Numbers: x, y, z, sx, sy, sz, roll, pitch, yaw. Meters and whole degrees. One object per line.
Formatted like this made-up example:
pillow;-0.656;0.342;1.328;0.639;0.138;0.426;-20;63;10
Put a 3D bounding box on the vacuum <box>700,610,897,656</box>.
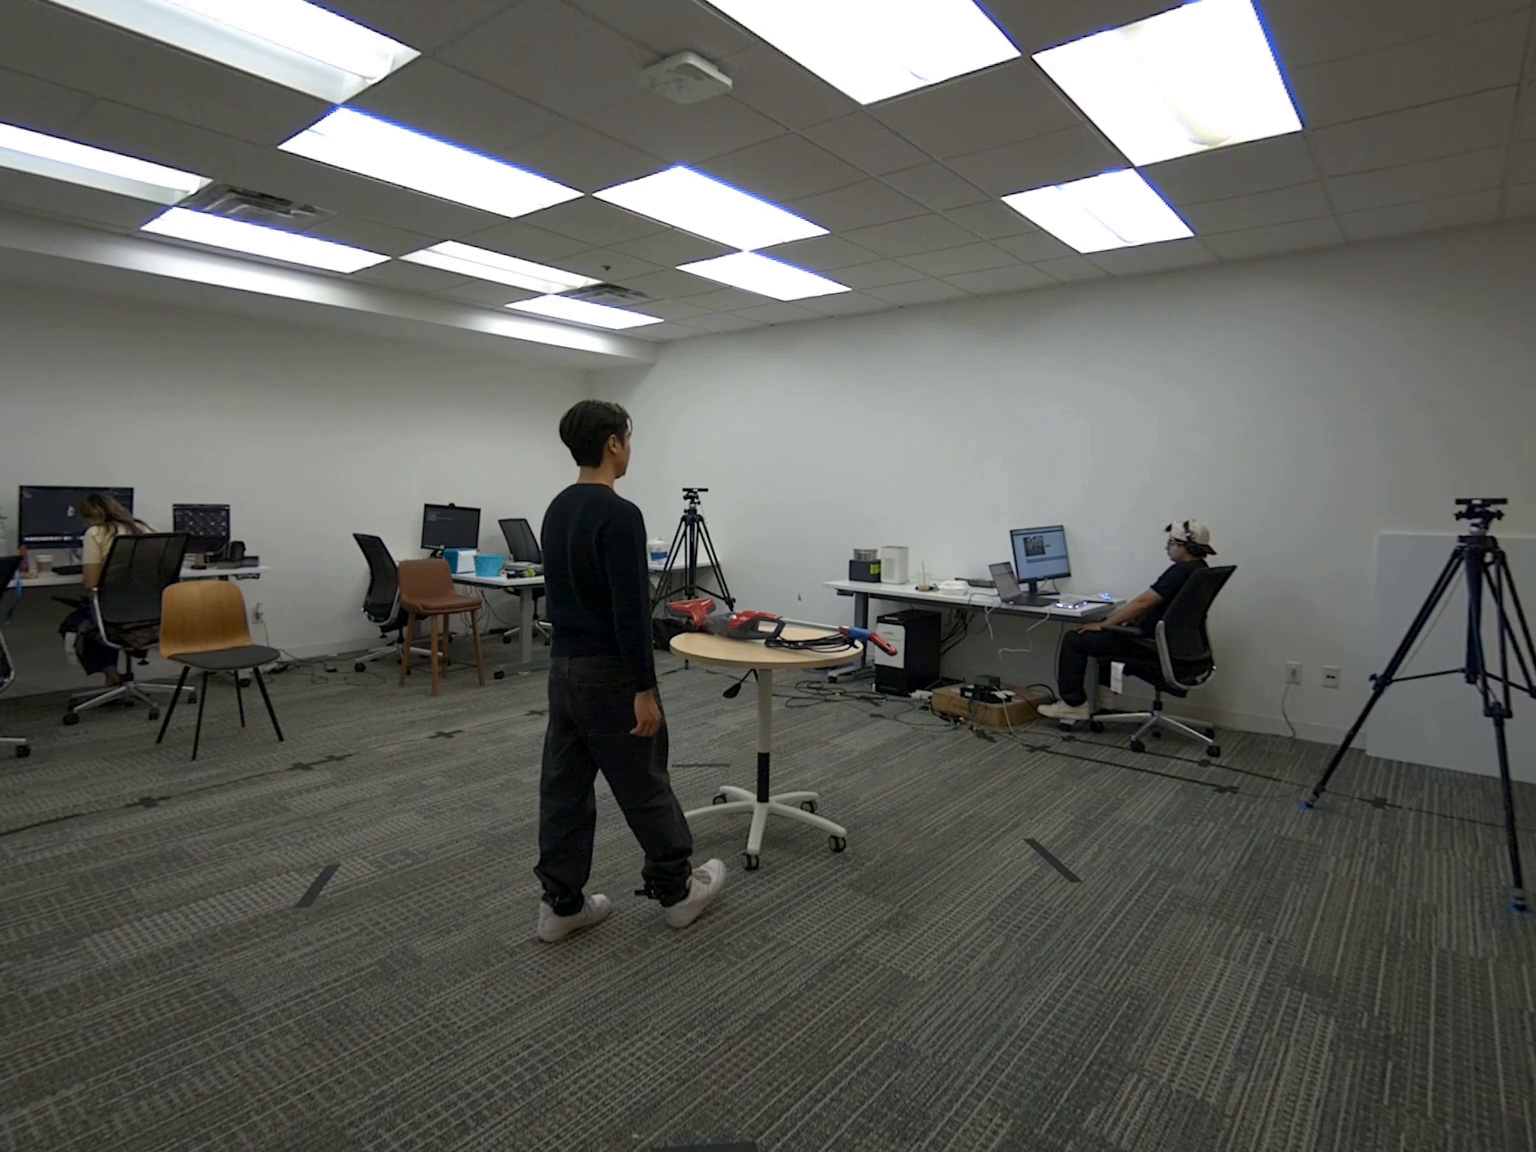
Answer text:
vacuum;0.036;0.220;3.275;0.245;0.143;1.086;-3;7;-42
